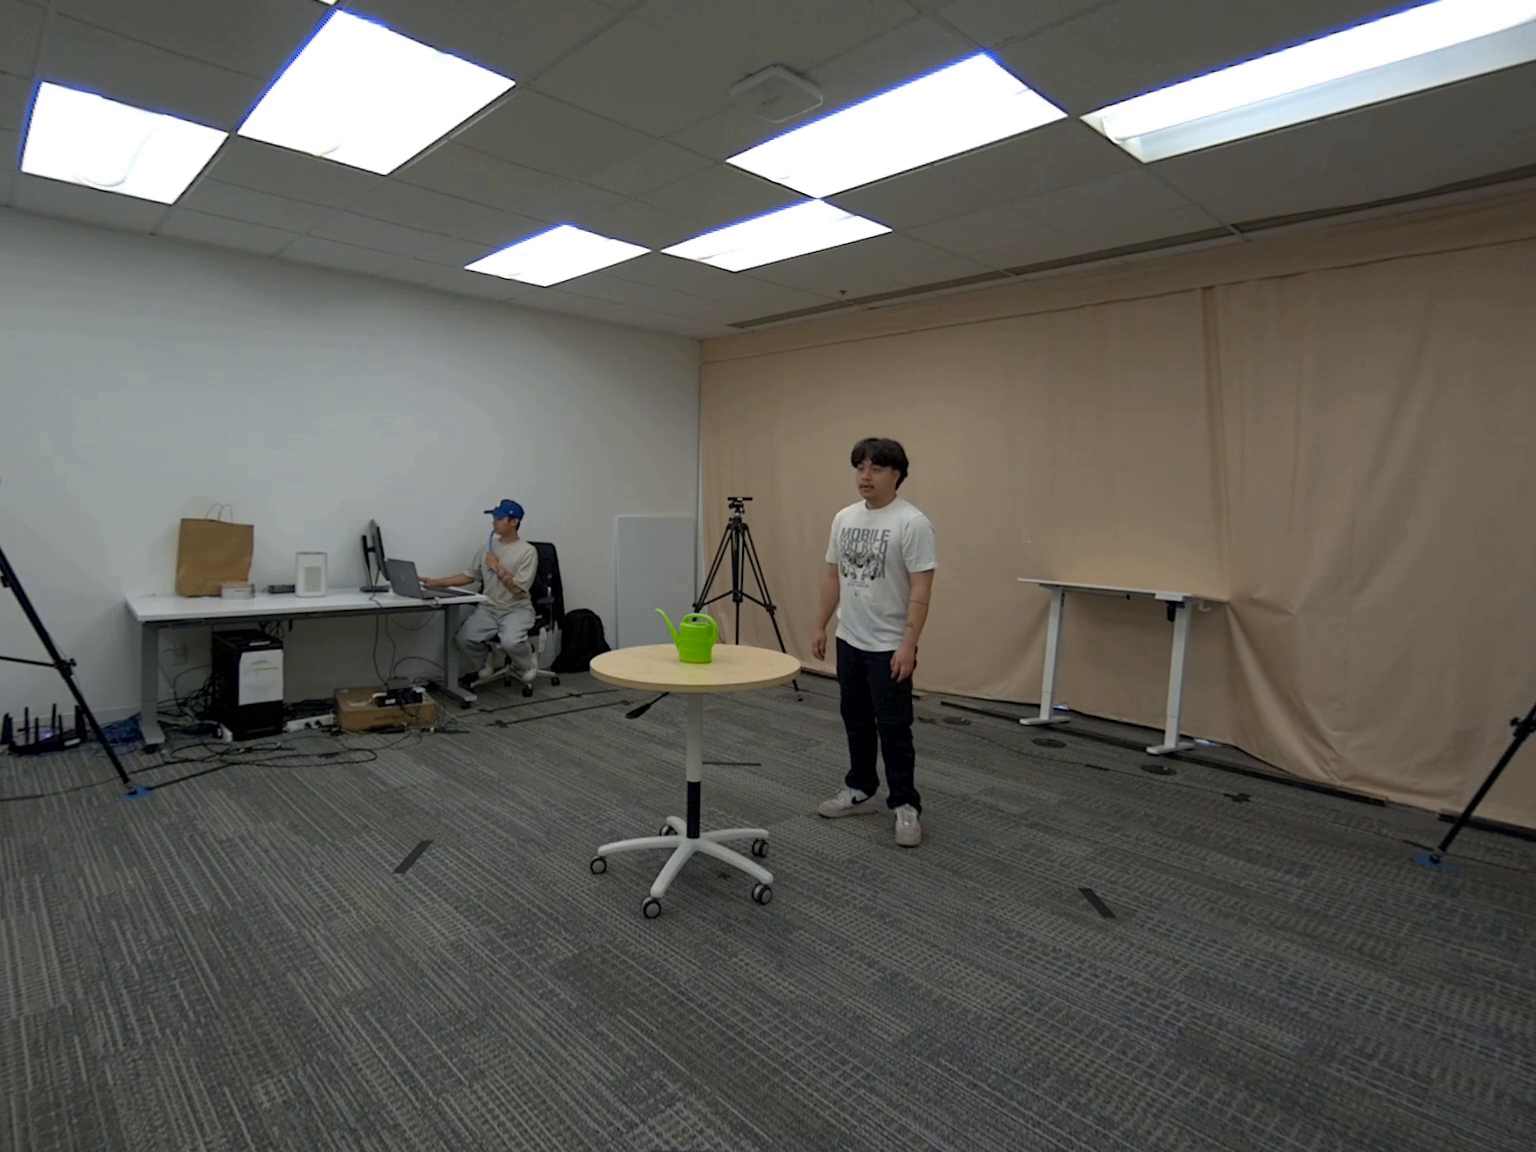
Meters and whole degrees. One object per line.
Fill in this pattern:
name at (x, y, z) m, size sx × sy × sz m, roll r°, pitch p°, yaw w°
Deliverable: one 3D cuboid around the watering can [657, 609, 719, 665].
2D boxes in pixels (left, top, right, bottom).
watering can at (-0.309, 0.223, 3.114) m, size 0.285 × 0.176 × 0.096 m, roll 6°, pitch 6°, yaw 45°
